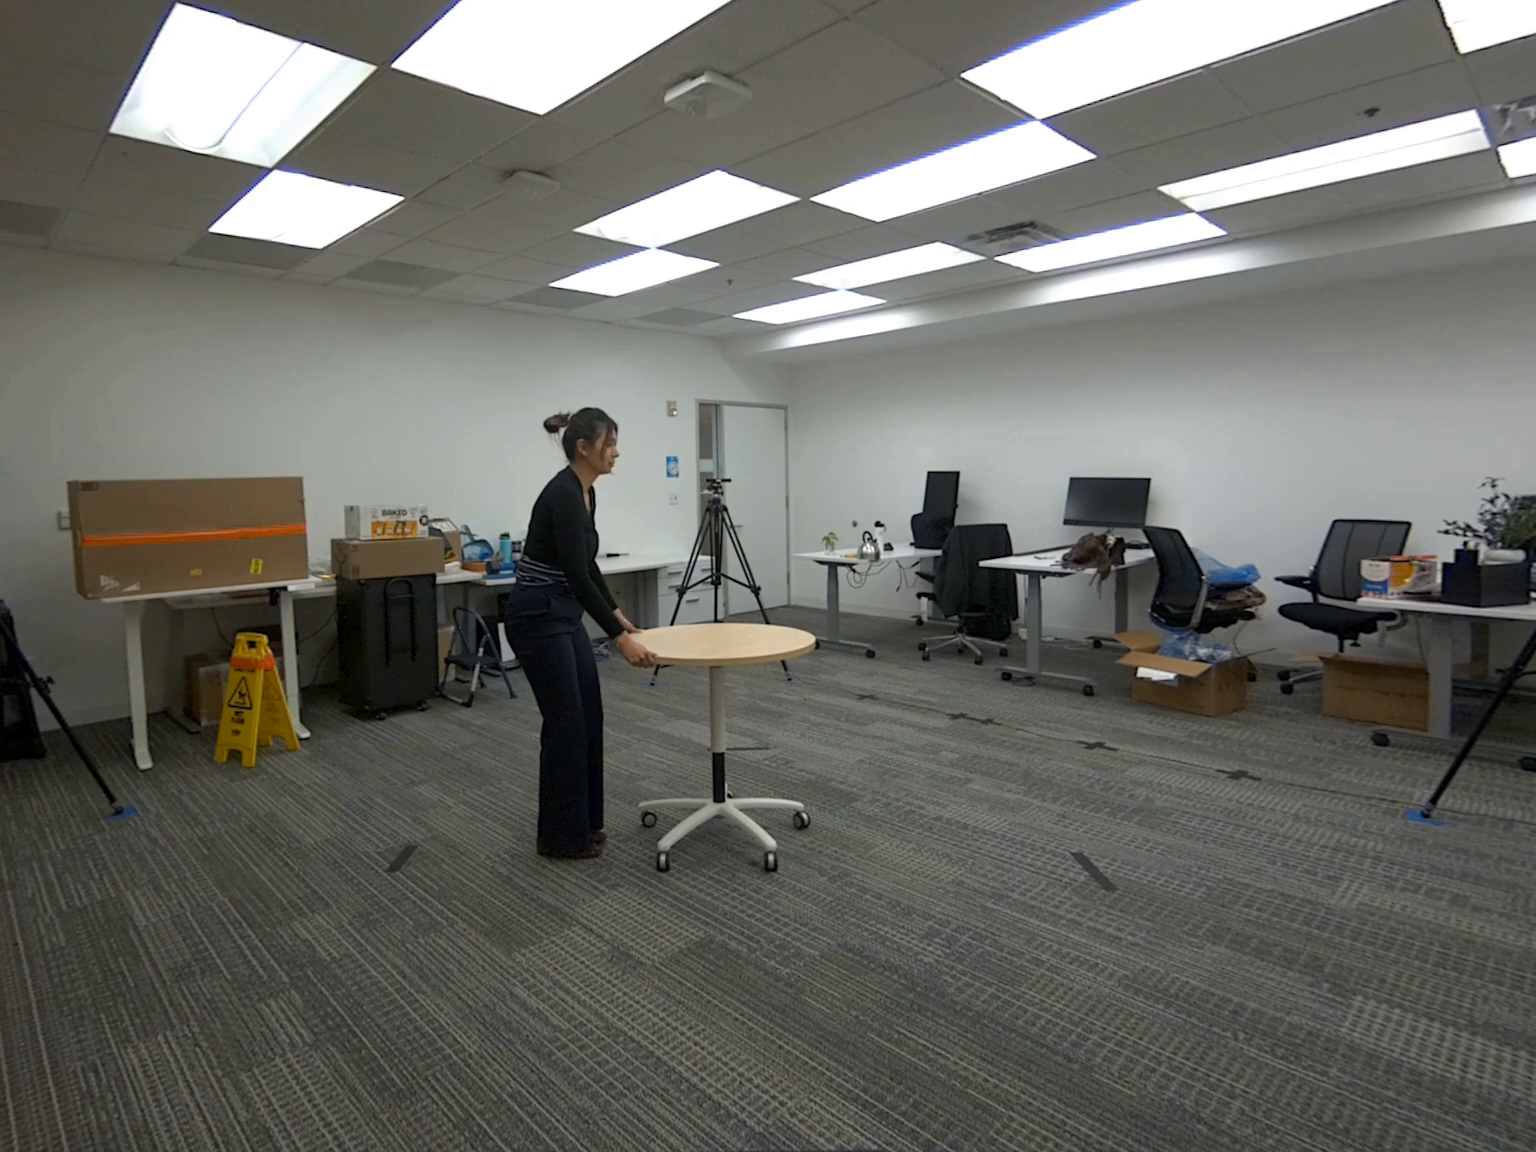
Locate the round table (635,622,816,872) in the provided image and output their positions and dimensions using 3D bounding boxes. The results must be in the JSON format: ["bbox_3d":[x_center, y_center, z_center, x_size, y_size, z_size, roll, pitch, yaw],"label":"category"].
[{"bbox_3d":[-0.190,0.633,3.324,0.763,0.791,0.768,-2,5,-2],"label":"round table"}]
